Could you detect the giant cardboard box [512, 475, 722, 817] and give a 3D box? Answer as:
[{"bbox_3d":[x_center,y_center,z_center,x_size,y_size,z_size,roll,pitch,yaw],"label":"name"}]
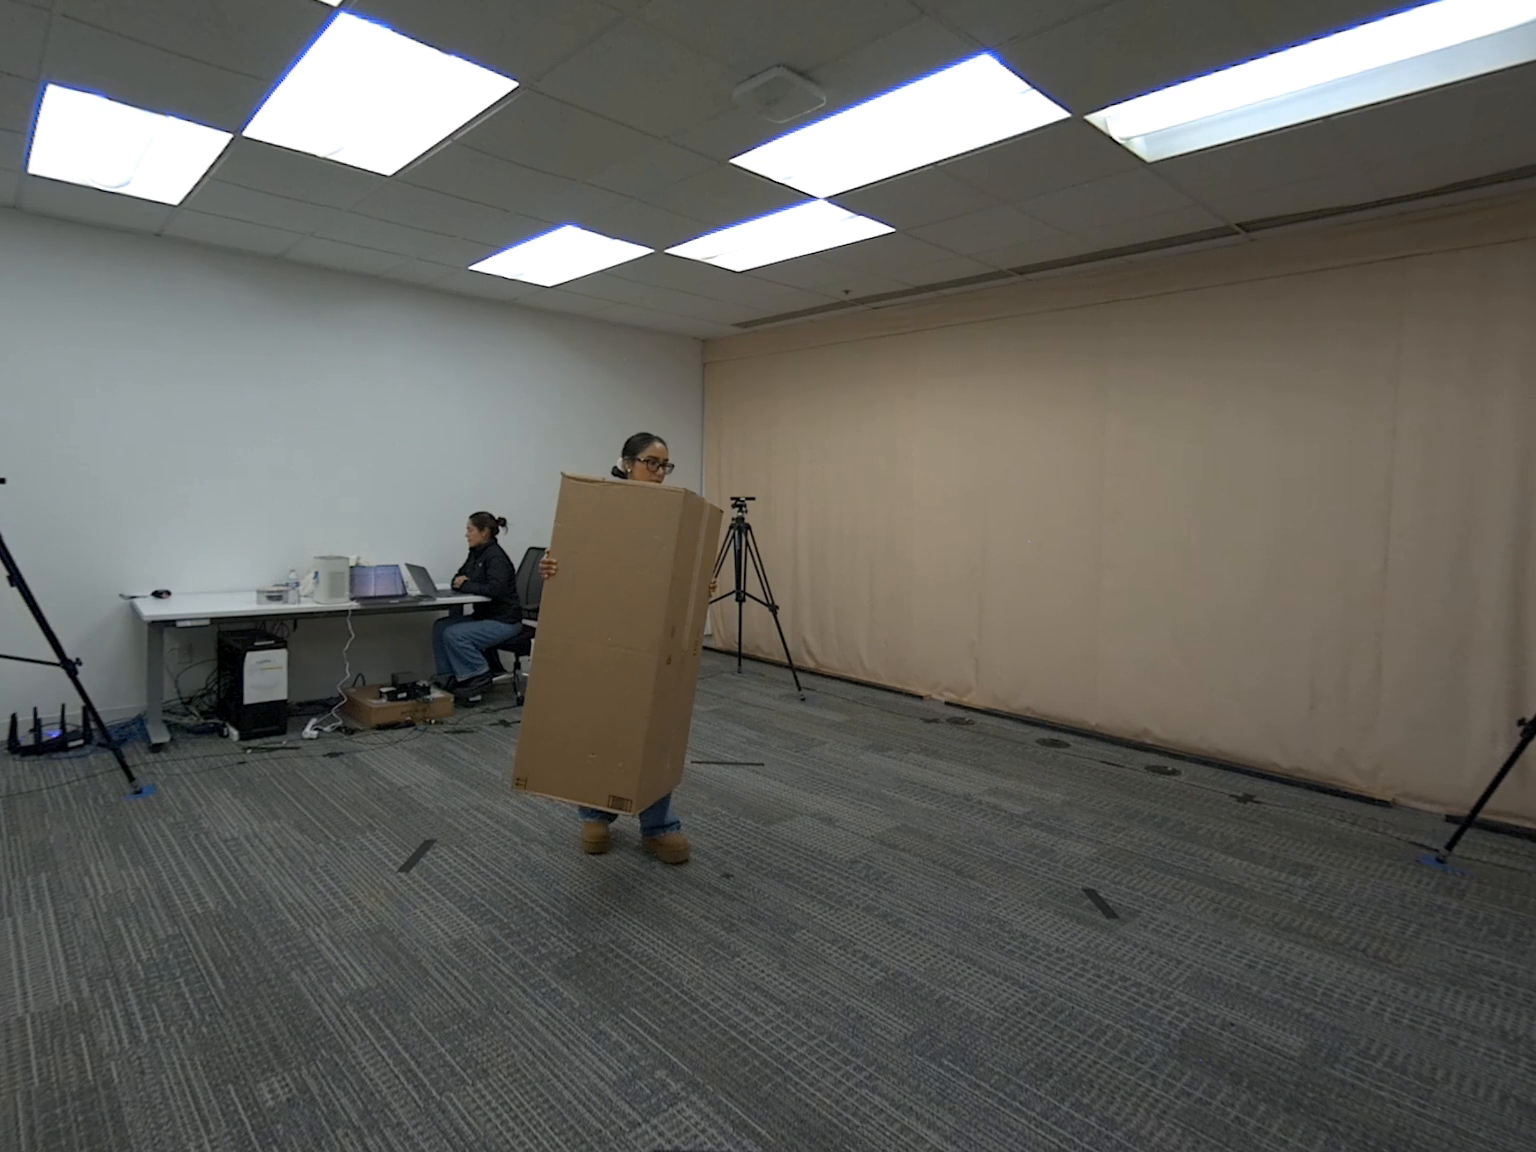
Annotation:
[{"bbox_3d":[-0.502,0.222,2.915,0.431,1.027,0.570,8,-2,11],"label":"giant cardboard box"}]
